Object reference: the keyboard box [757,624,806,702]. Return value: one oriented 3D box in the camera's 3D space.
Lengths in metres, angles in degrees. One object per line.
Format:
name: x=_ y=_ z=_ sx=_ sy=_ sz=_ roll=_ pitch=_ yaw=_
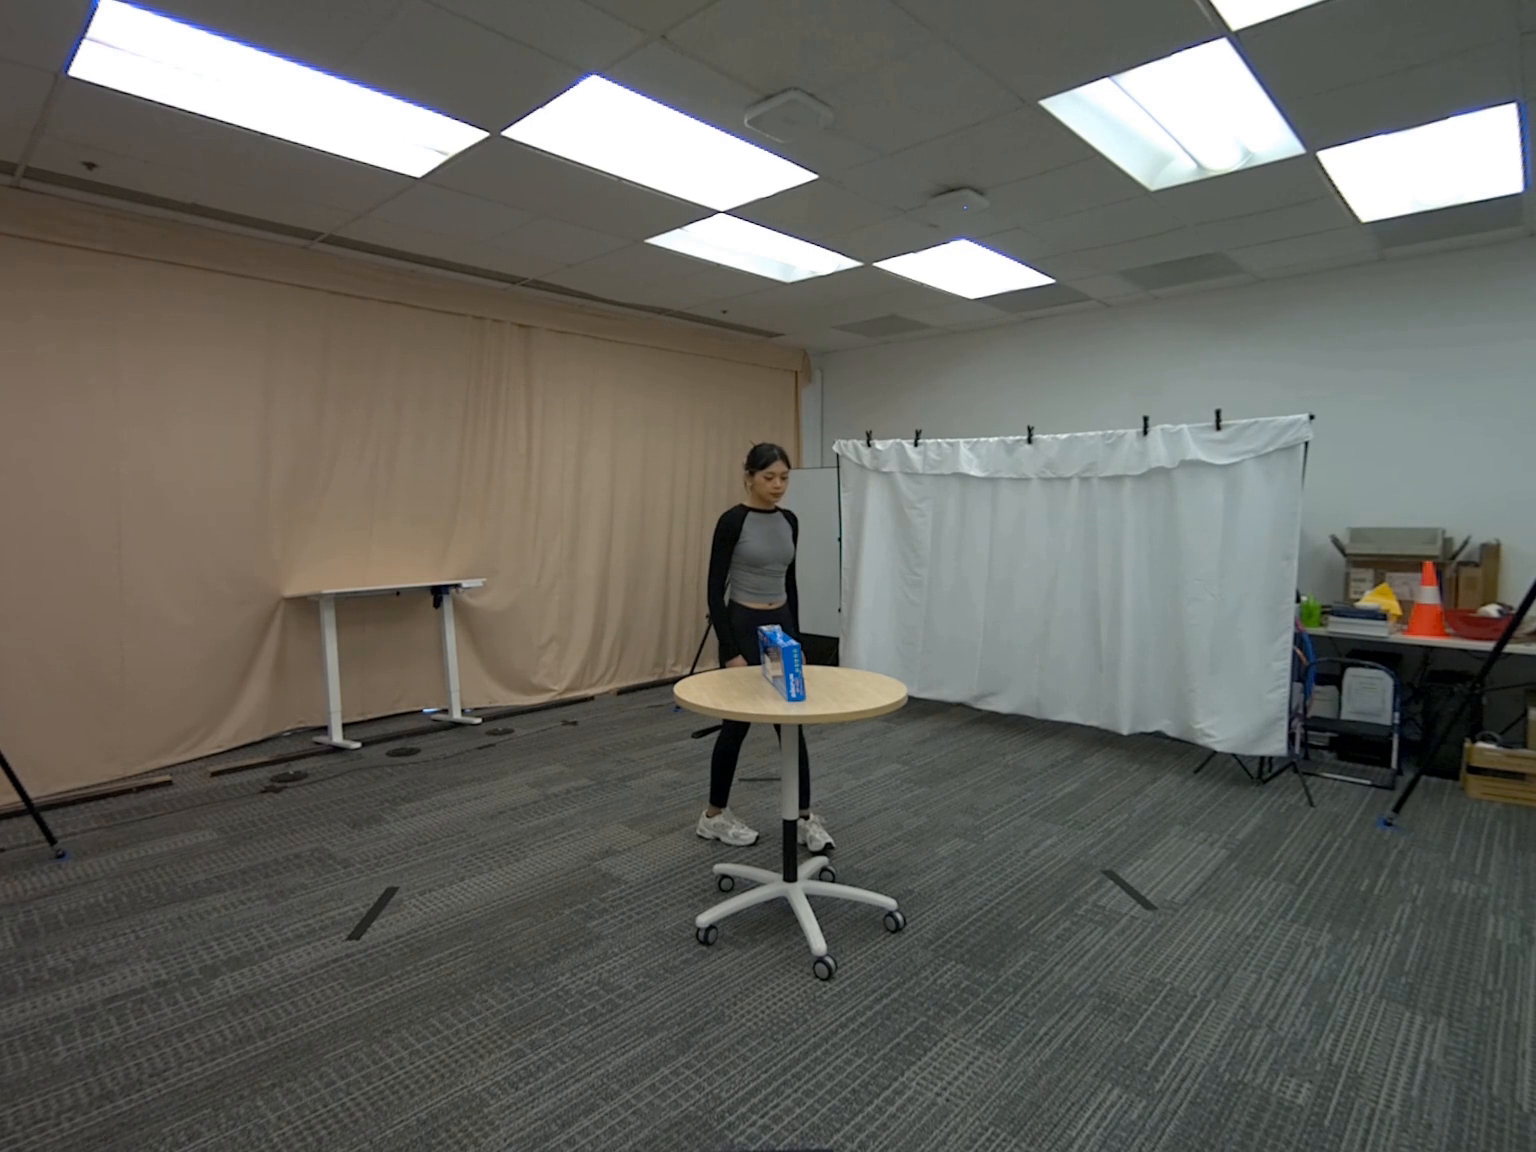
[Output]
keyboard box: x=0.041 y=0.280 z=2.778 sx=0.058 sy=0.175 sz=0.442 roll=-4 pitch=5 yaw=-10
